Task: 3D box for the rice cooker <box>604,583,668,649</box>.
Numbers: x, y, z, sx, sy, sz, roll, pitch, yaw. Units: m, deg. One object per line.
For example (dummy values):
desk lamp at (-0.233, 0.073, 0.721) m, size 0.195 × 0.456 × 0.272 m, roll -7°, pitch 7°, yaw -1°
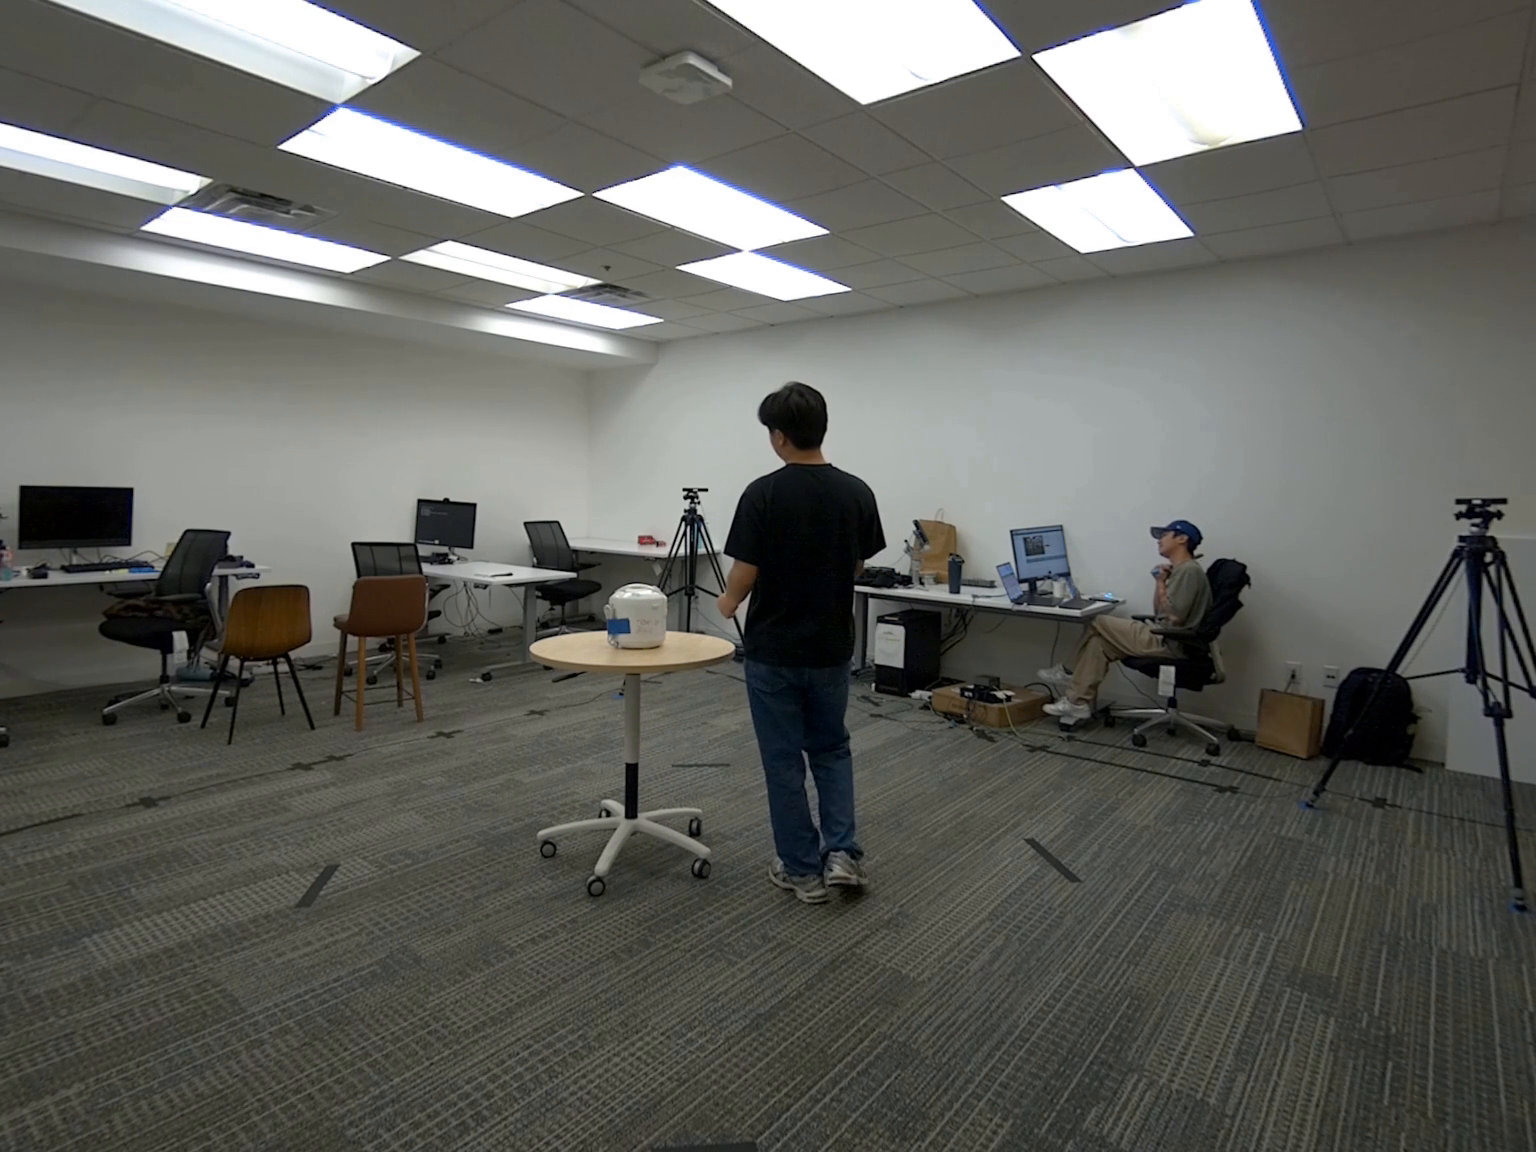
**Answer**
rice cooker at (-0.502, 0.144, 3.206) m, size 0.223 × 0.232 × 0.216 m, roll 1°, pitch 4°, yaw 8°
